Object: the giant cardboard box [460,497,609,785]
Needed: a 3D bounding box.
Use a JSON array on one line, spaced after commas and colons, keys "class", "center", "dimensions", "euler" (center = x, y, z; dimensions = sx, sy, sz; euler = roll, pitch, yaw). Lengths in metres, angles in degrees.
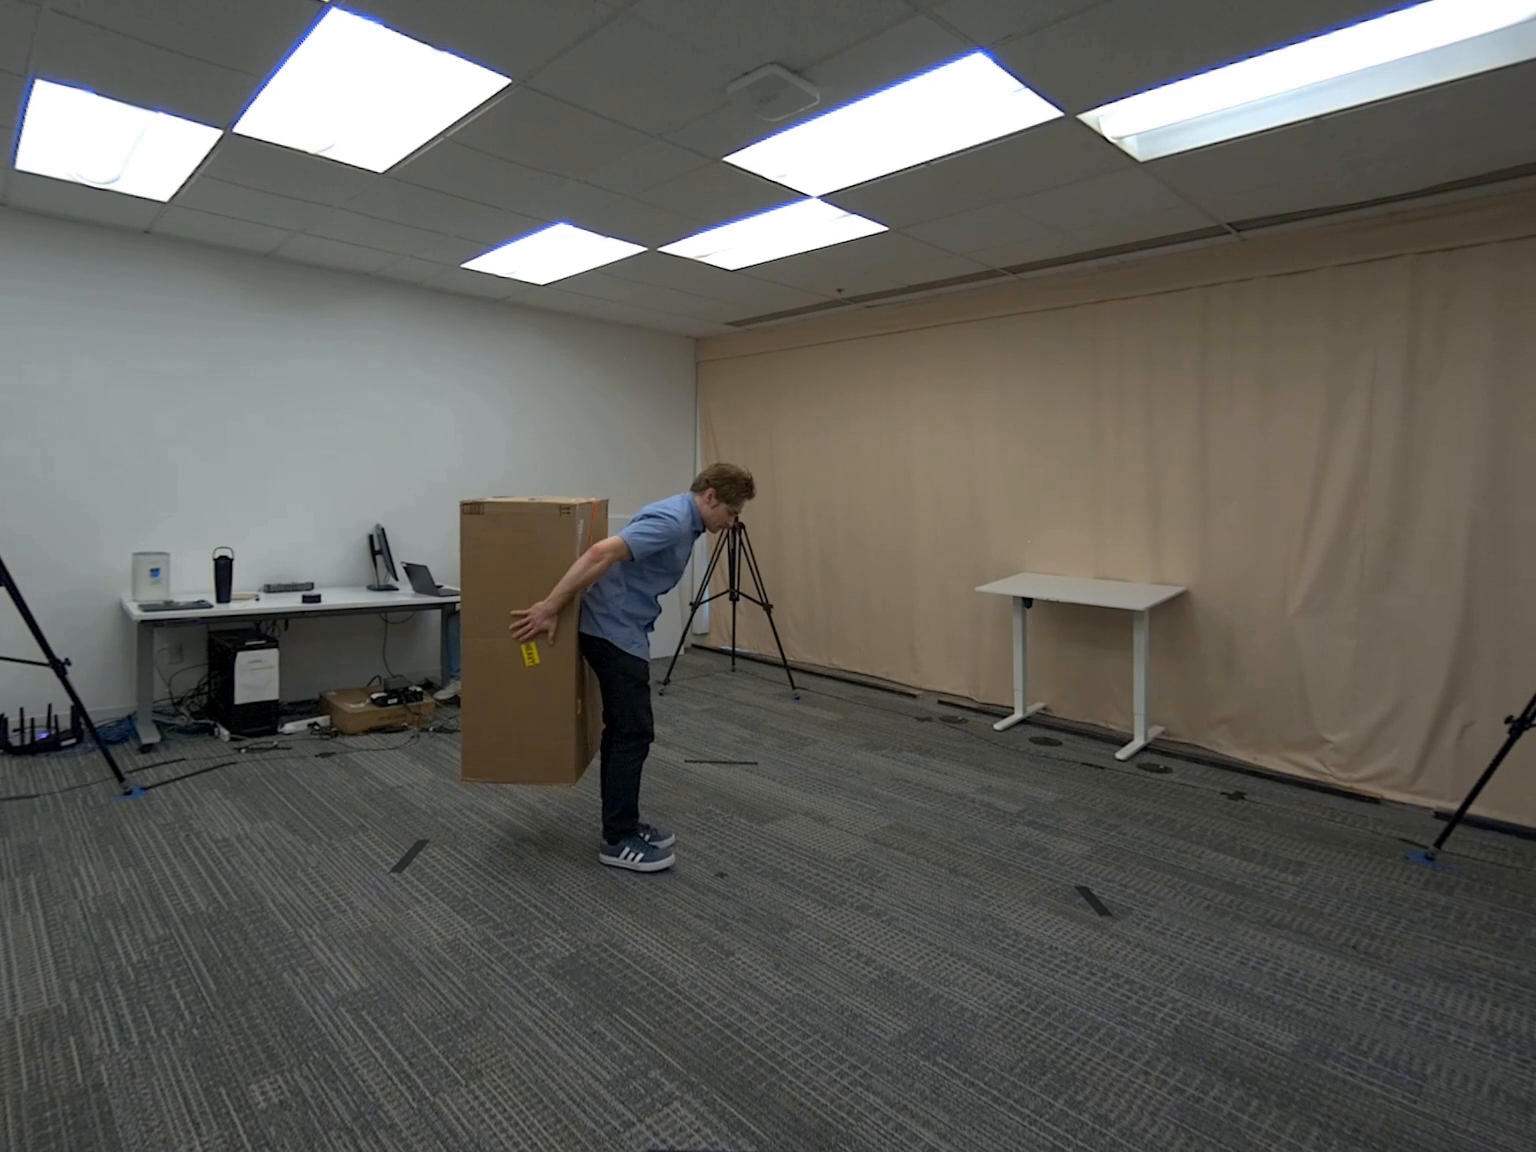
[{"class": "giant cardboard box", "center": [-0.900, 0.216, 3.289], "dimensions": [0.448, 1.023, 0.585], "euler": [1, 5, 2]}]
